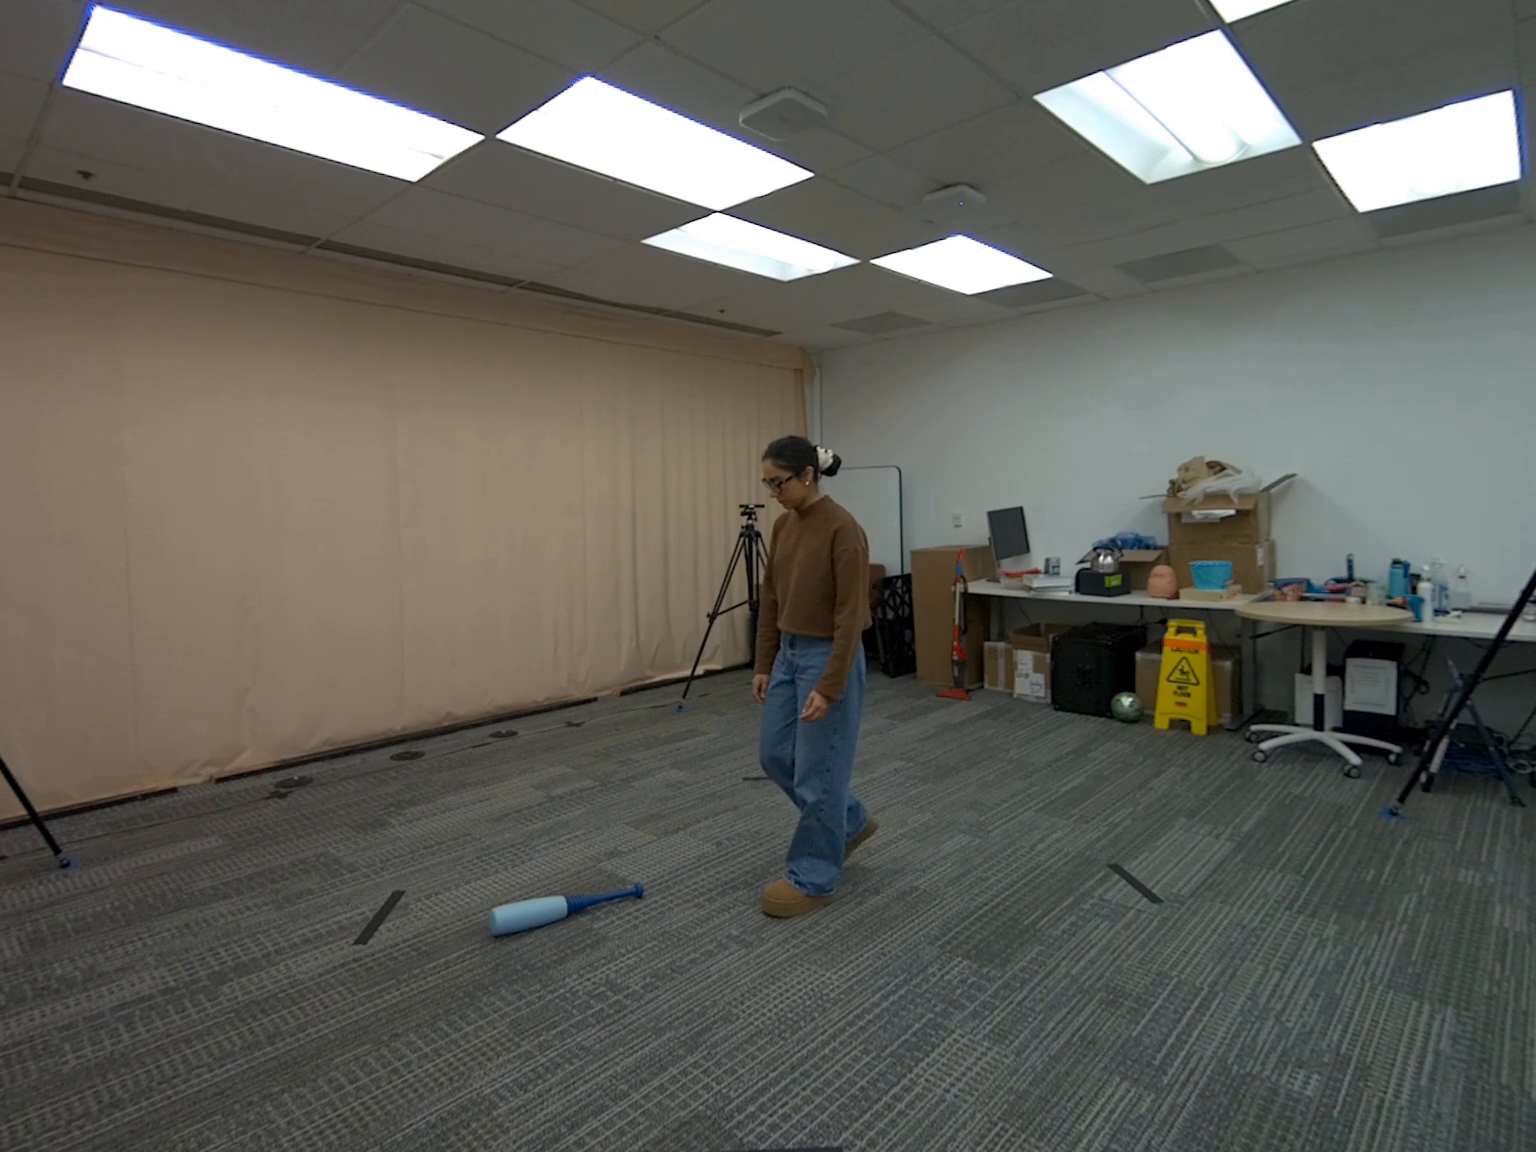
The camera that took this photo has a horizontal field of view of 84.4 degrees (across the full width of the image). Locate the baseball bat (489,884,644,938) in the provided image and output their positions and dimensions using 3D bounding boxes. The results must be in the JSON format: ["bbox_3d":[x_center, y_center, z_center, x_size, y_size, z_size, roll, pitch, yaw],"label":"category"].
[{"bbox_3d":[-0.678,1.137,2.877,0.528,0.089,0.091,0,3,-30],"label":"baseball bat"}]
